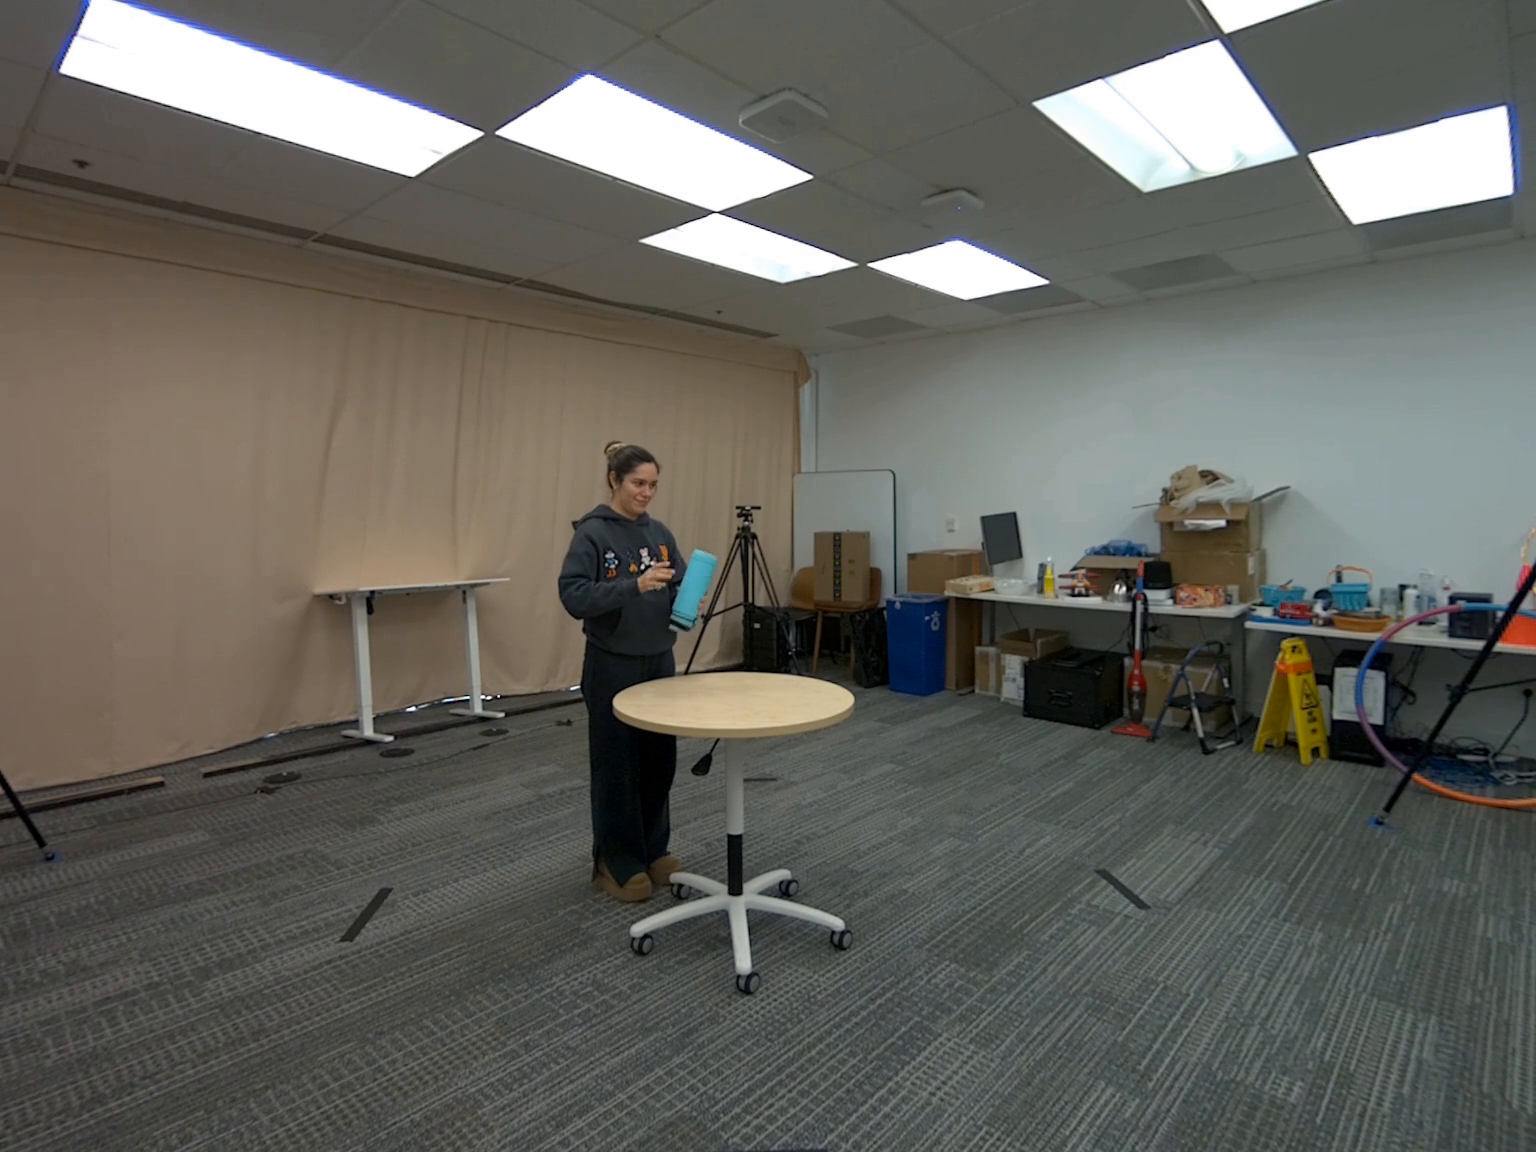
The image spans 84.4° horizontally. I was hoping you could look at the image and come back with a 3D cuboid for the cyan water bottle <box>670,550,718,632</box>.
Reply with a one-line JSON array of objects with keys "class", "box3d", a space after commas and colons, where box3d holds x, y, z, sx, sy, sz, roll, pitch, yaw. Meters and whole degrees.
[{"class": "cyan water bottle", "box3d": [-0.264, 0.060, 2.864, 0.092, 0.284, 0.092, 17, -3, -1]}]
